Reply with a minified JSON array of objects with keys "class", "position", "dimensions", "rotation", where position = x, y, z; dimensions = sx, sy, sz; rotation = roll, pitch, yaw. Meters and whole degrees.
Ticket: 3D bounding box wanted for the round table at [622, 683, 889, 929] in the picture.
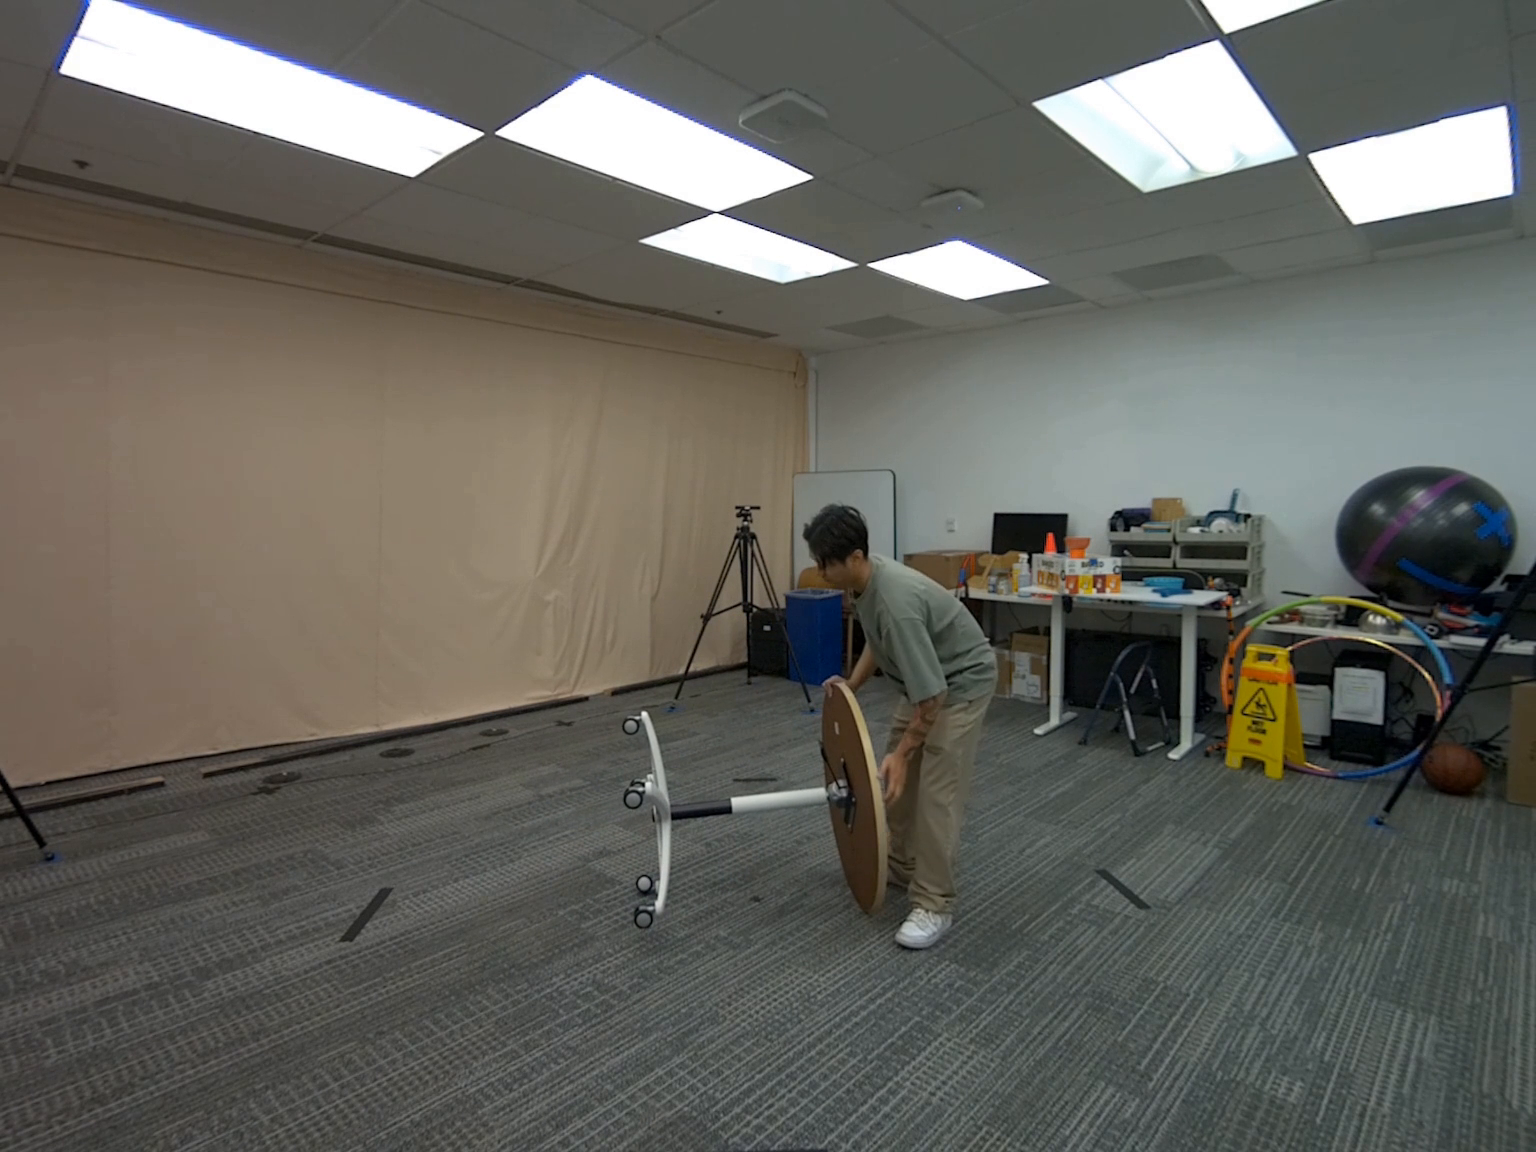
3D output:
[{"class":"round table","position":[-0.086,0.789,2.924],"dimensions":[0.781,0.783,0.793],"rotation":[-5,4,-8]}]
